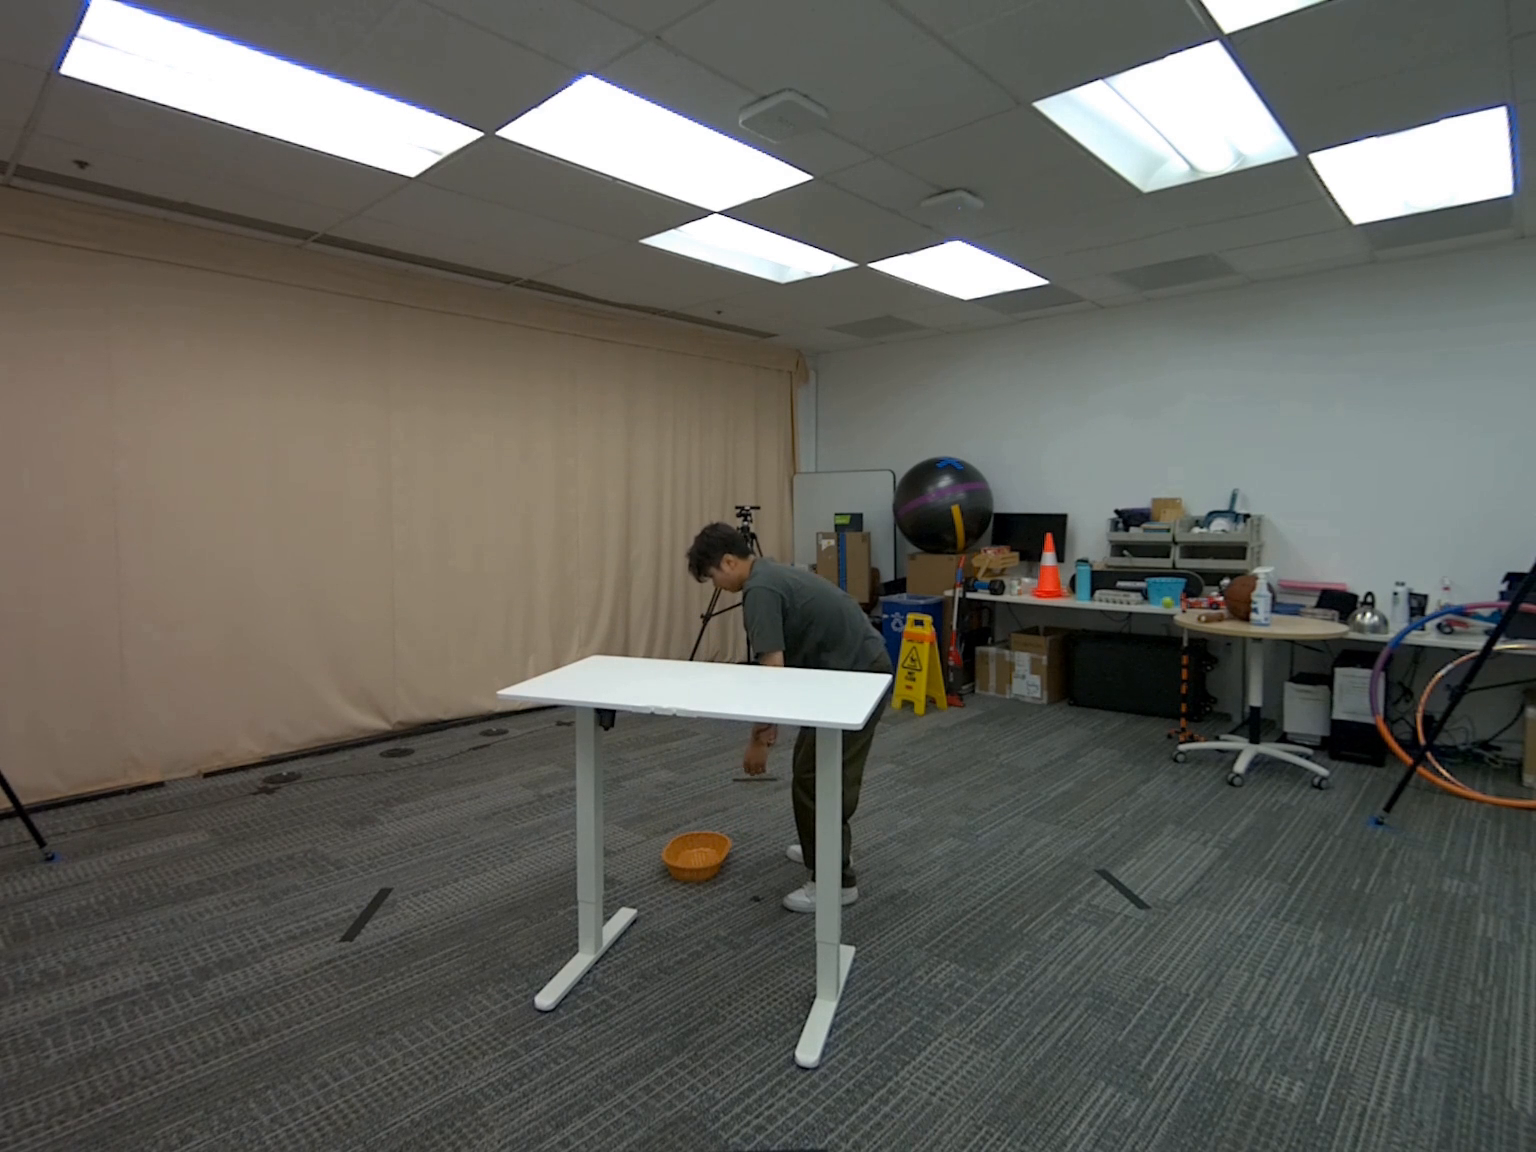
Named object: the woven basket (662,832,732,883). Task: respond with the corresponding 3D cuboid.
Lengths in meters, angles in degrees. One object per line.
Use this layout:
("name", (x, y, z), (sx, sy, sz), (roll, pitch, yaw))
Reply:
("woven basket", (-0.276, 1.087, 3.258), (0.256, 0.073, 0.345), (0, 5, 14))
